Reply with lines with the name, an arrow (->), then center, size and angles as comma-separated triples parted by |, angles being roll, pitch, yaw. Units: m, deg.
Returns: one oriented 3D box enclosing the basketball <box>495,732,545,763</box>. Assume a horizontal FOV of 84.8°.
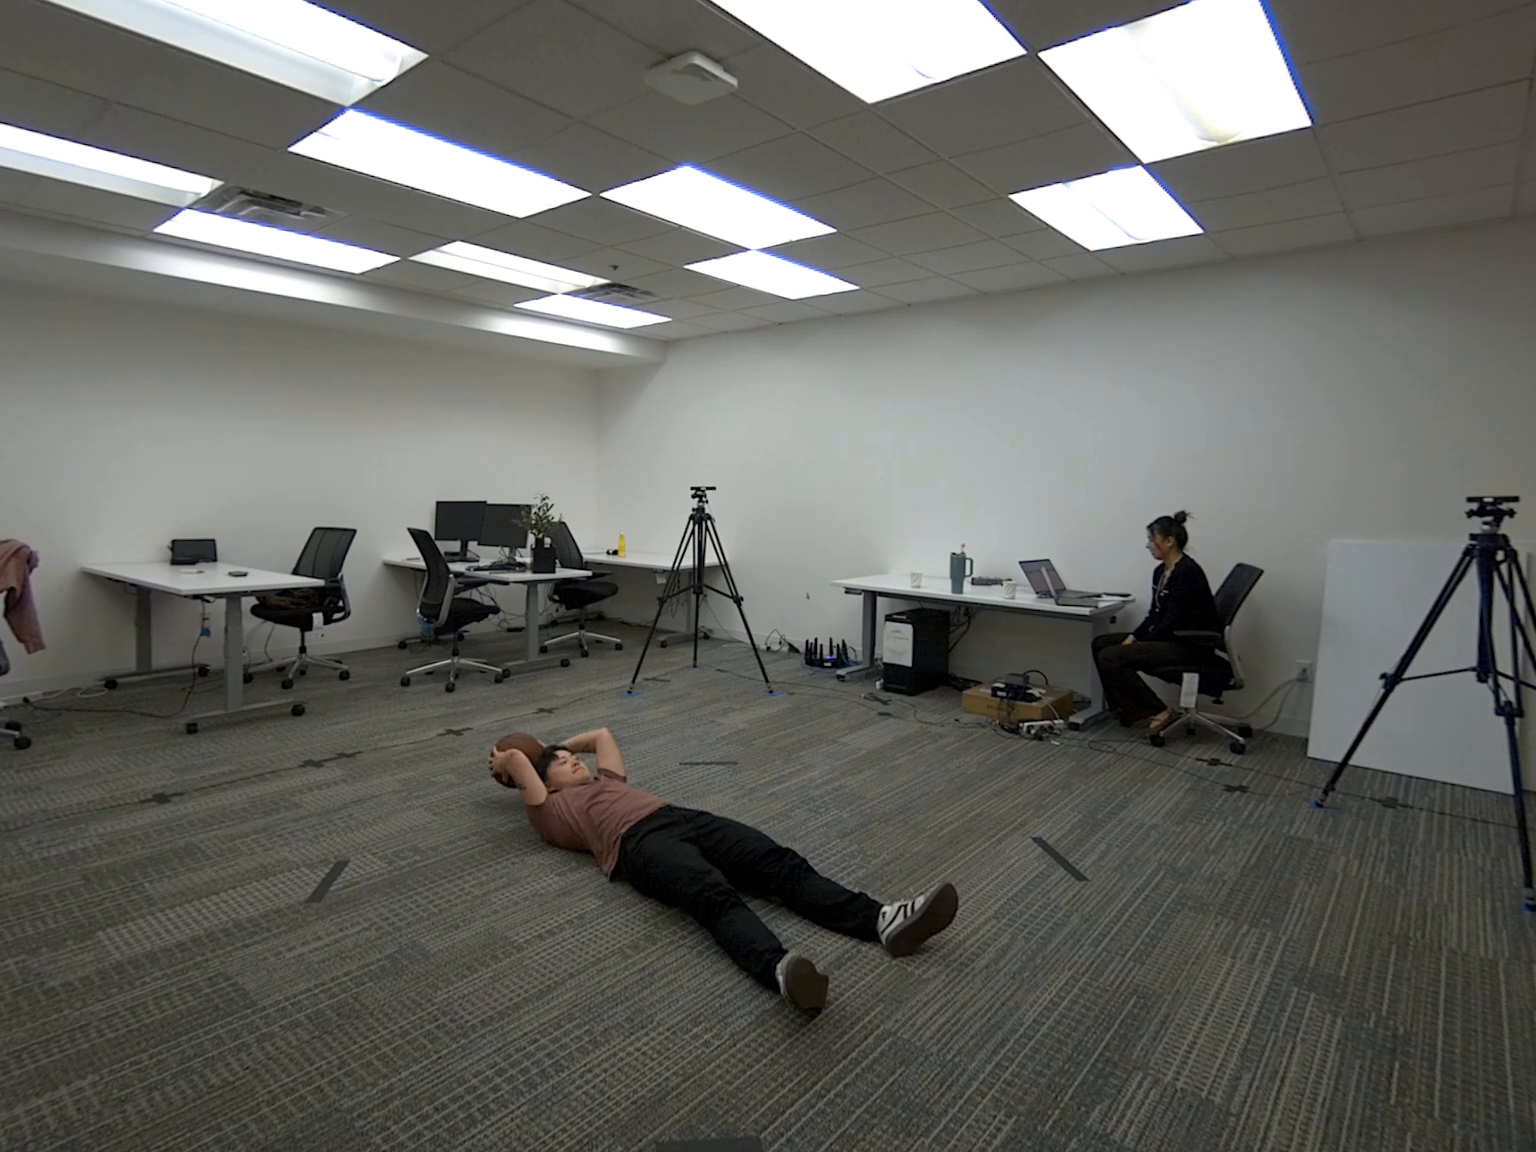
basketball -> -1.108, 0.787, 3.723 | 0.235, 0.235, 0.237 | 1, 5, -2
